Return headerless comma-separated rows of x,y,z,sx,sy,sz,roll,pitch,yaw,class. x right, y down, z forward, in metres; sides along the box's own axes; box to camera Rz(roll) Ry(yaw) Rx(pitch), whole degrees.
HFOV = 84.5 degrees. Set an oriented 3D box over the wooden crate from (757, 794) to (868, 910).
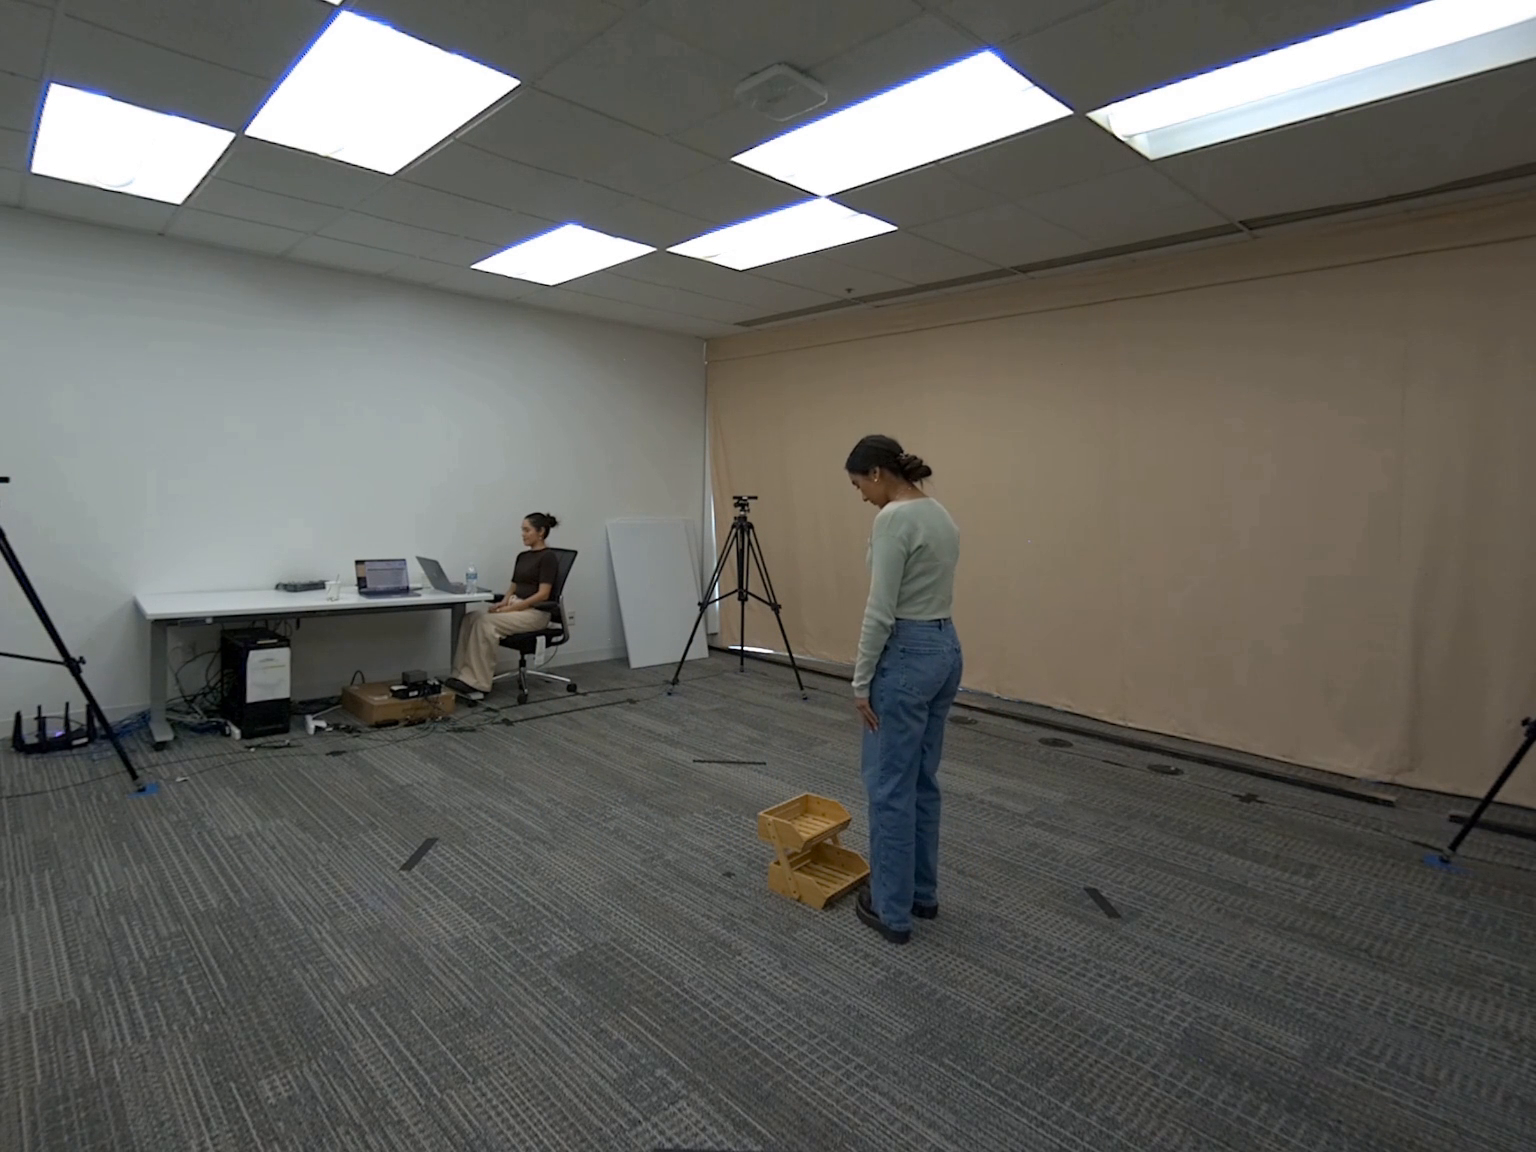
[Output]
0.166,0.982,3.044,0.309,0.272,0.317,4,5,39,wooden crate
